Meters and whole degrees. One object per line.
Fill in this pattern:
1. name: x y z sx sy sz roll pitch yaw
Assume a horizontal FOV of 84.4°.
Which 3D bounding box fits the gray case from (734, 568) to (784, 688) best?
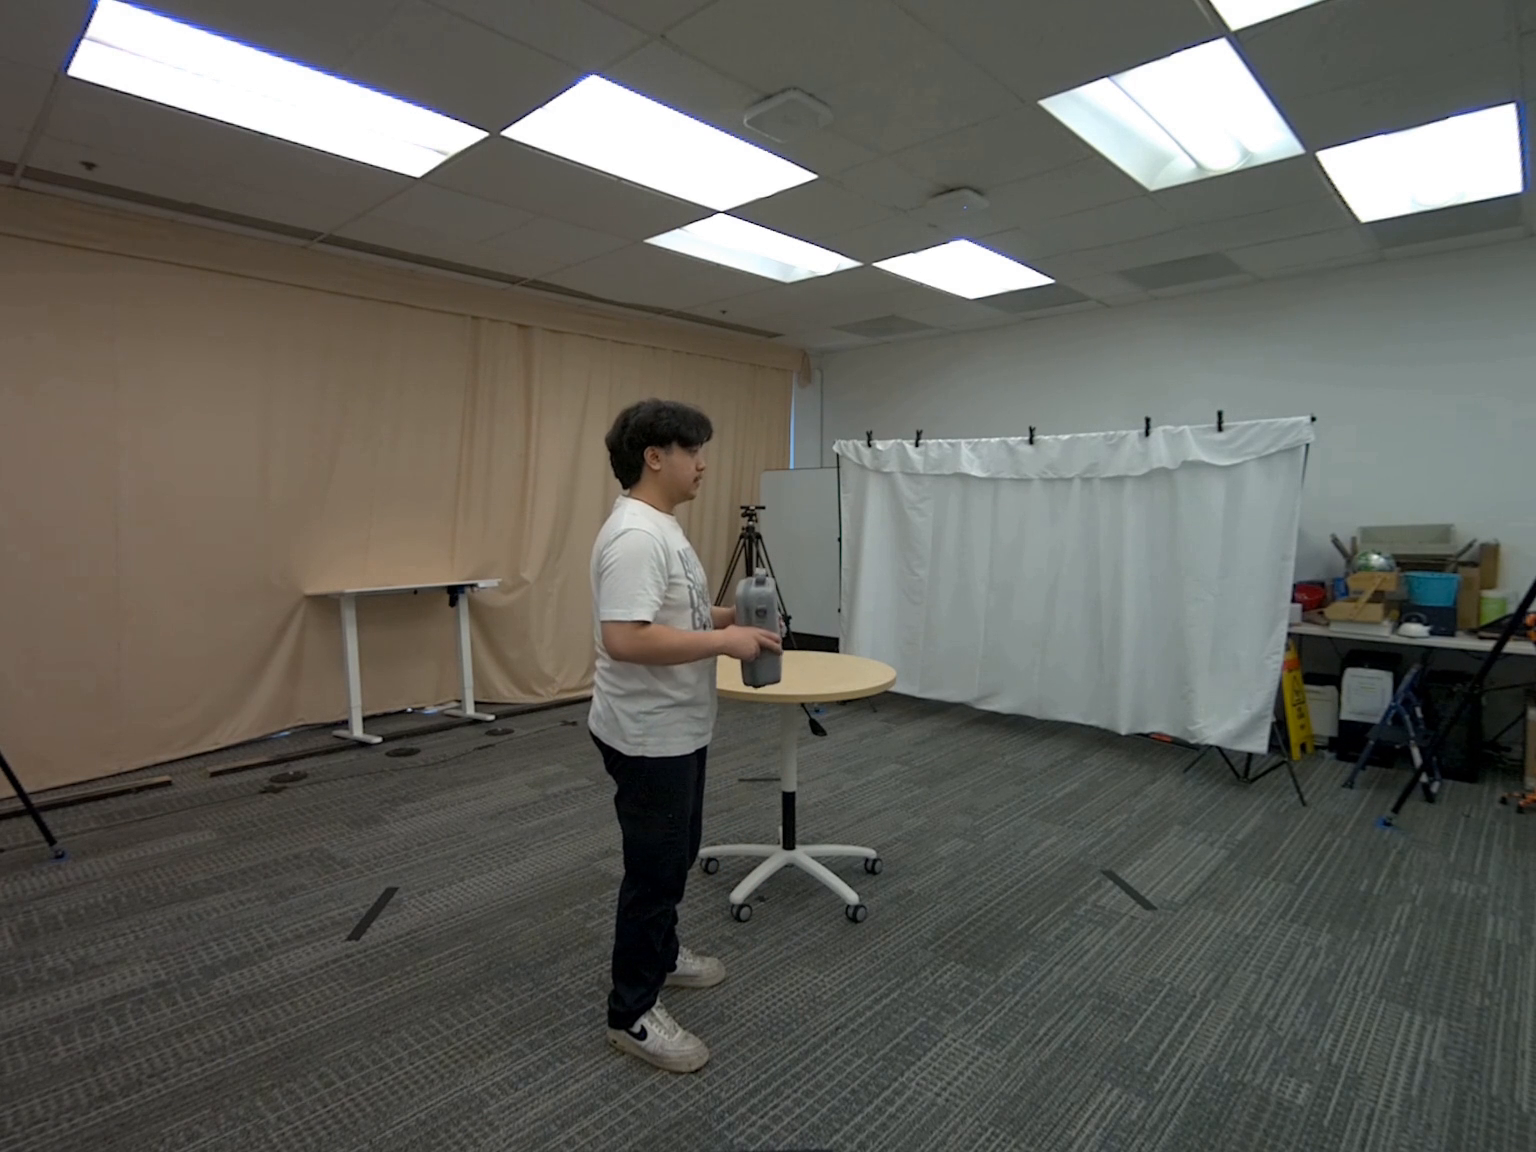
1. gray case: -0.014 0.140 2.198 0.104 0.259 0.258 -3 11 1
